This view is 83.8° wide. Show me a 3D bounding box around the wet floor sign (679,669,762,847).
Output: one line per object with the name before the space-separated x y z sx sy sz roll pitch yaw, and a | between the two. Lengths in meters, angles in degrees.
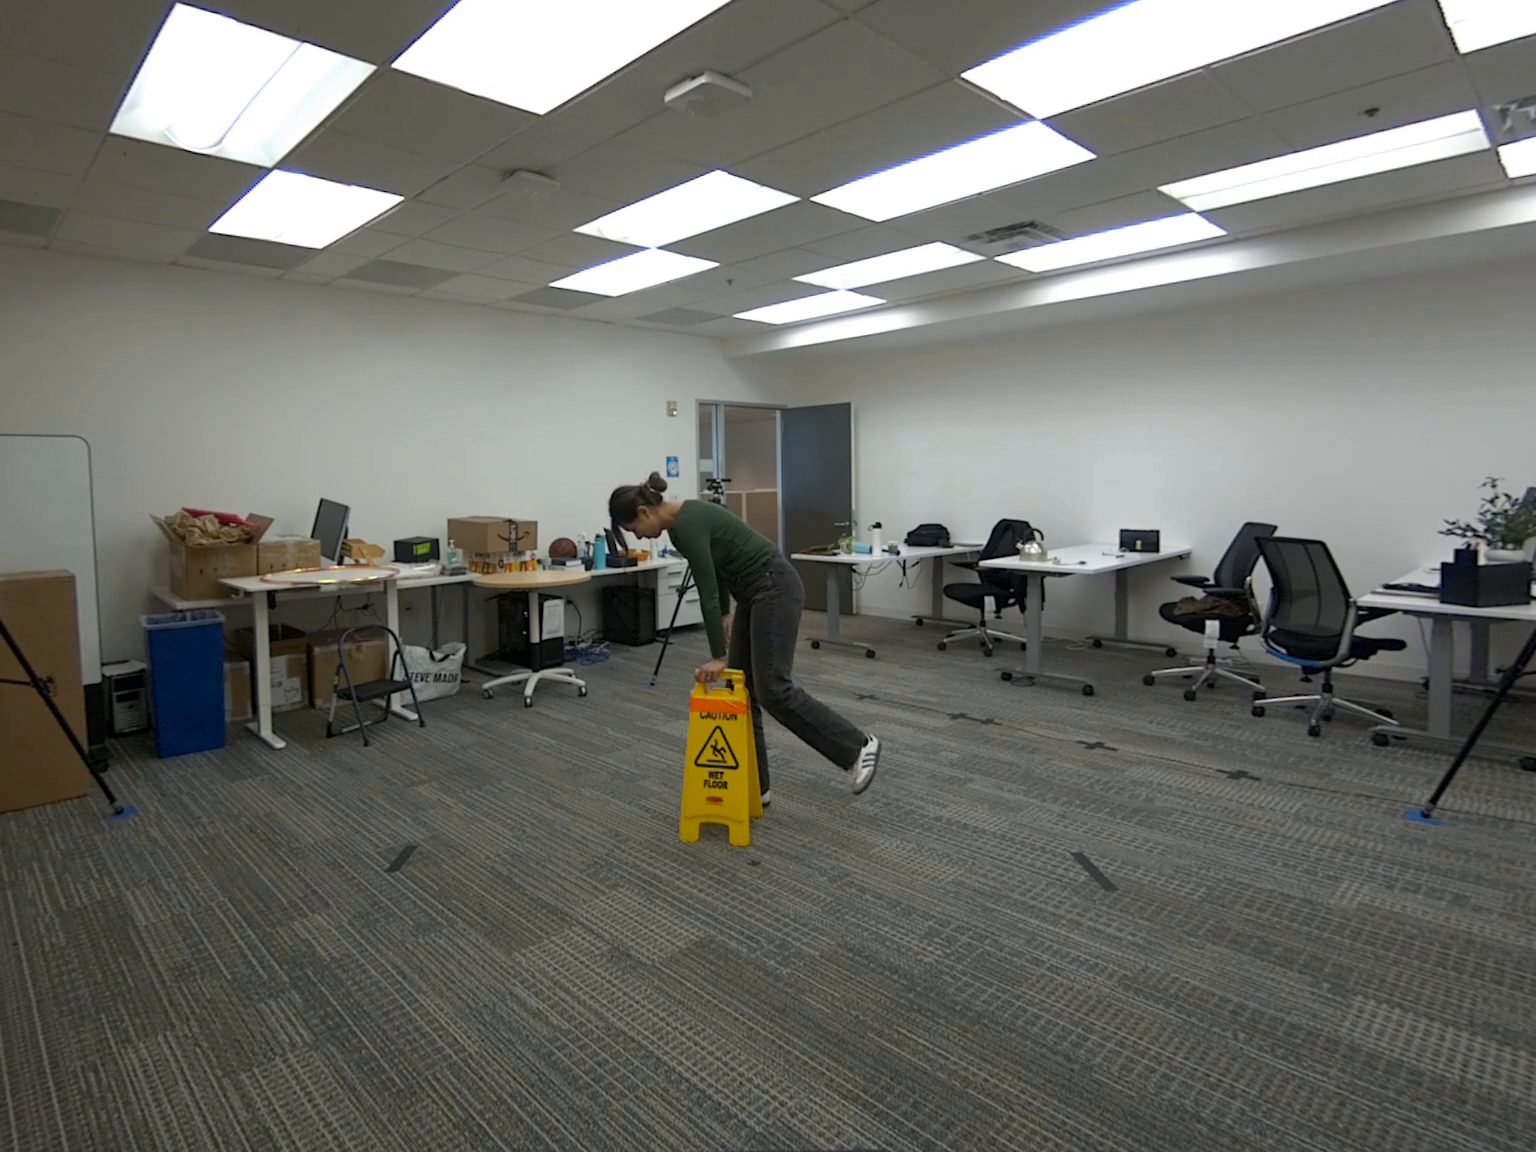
wet floor sign | -0.195 0.695 3.400 0.286 0.643 0.287 -2 5 13
